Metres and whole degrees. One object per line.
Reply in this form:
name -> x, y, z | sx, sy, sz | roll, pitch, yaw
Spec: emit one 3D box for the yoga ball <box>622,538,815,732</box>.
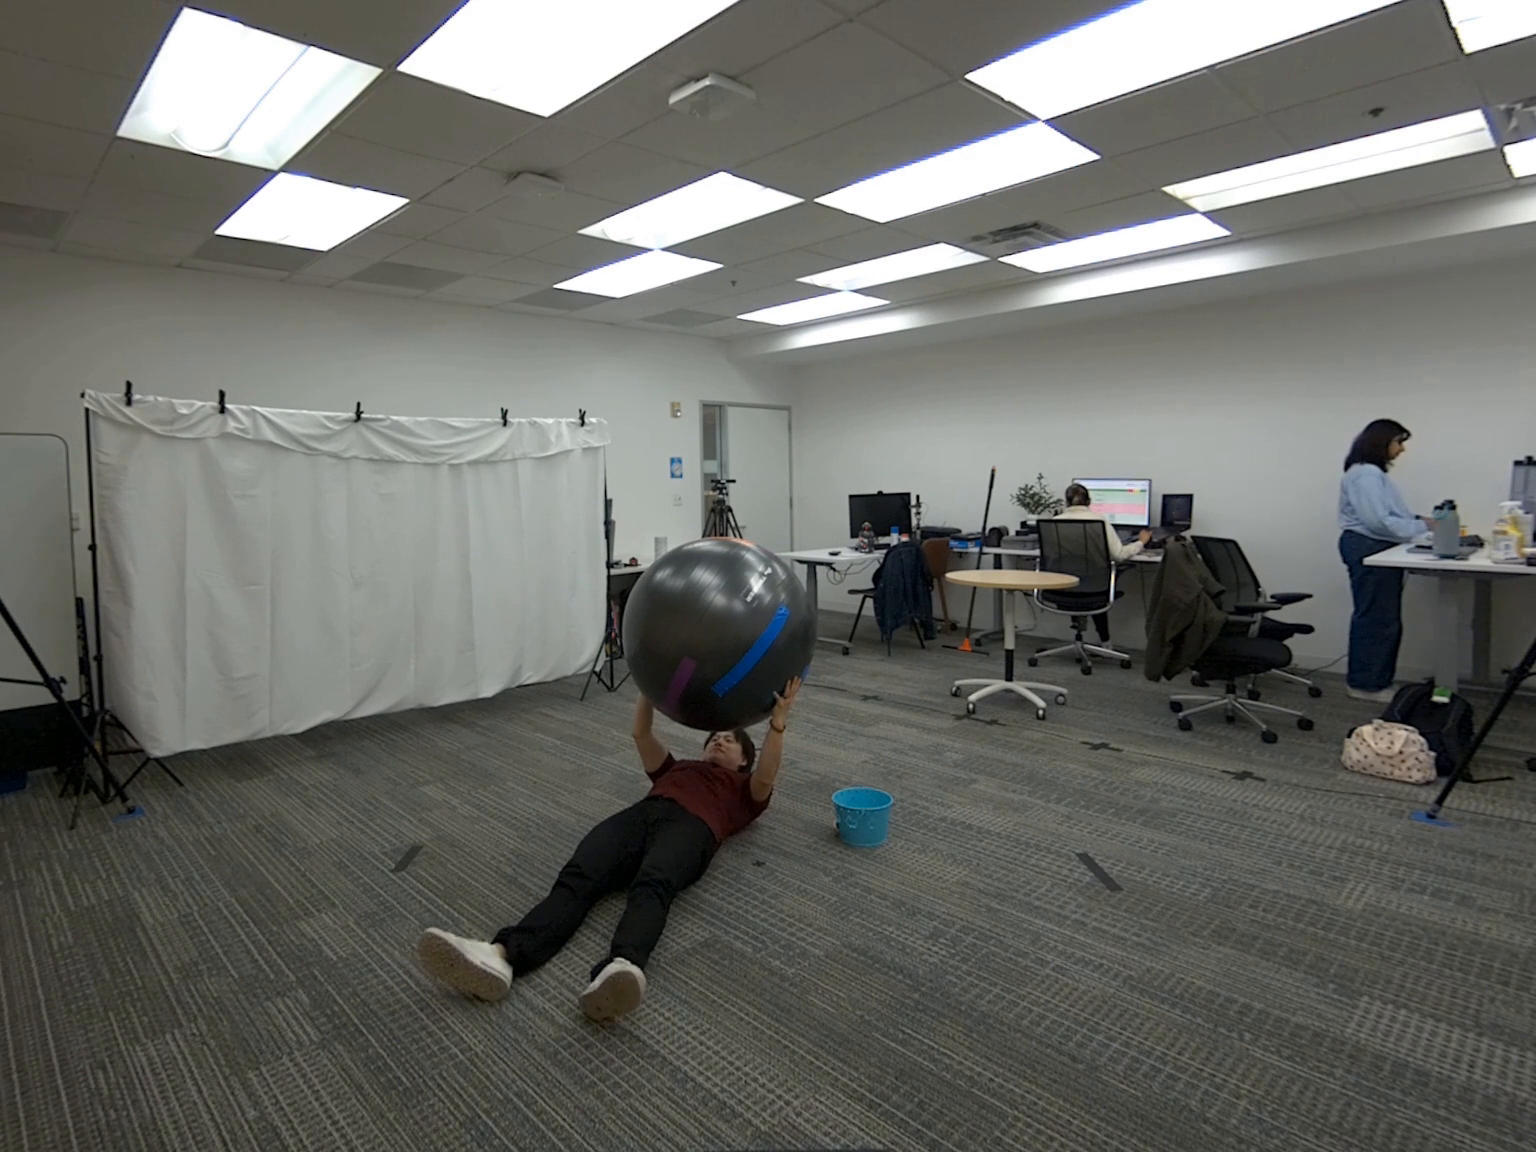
yoga ball -> -0.195, 0.231, 3.369 | 0.757, 0.755, 0.762 | -1, 5, -2
